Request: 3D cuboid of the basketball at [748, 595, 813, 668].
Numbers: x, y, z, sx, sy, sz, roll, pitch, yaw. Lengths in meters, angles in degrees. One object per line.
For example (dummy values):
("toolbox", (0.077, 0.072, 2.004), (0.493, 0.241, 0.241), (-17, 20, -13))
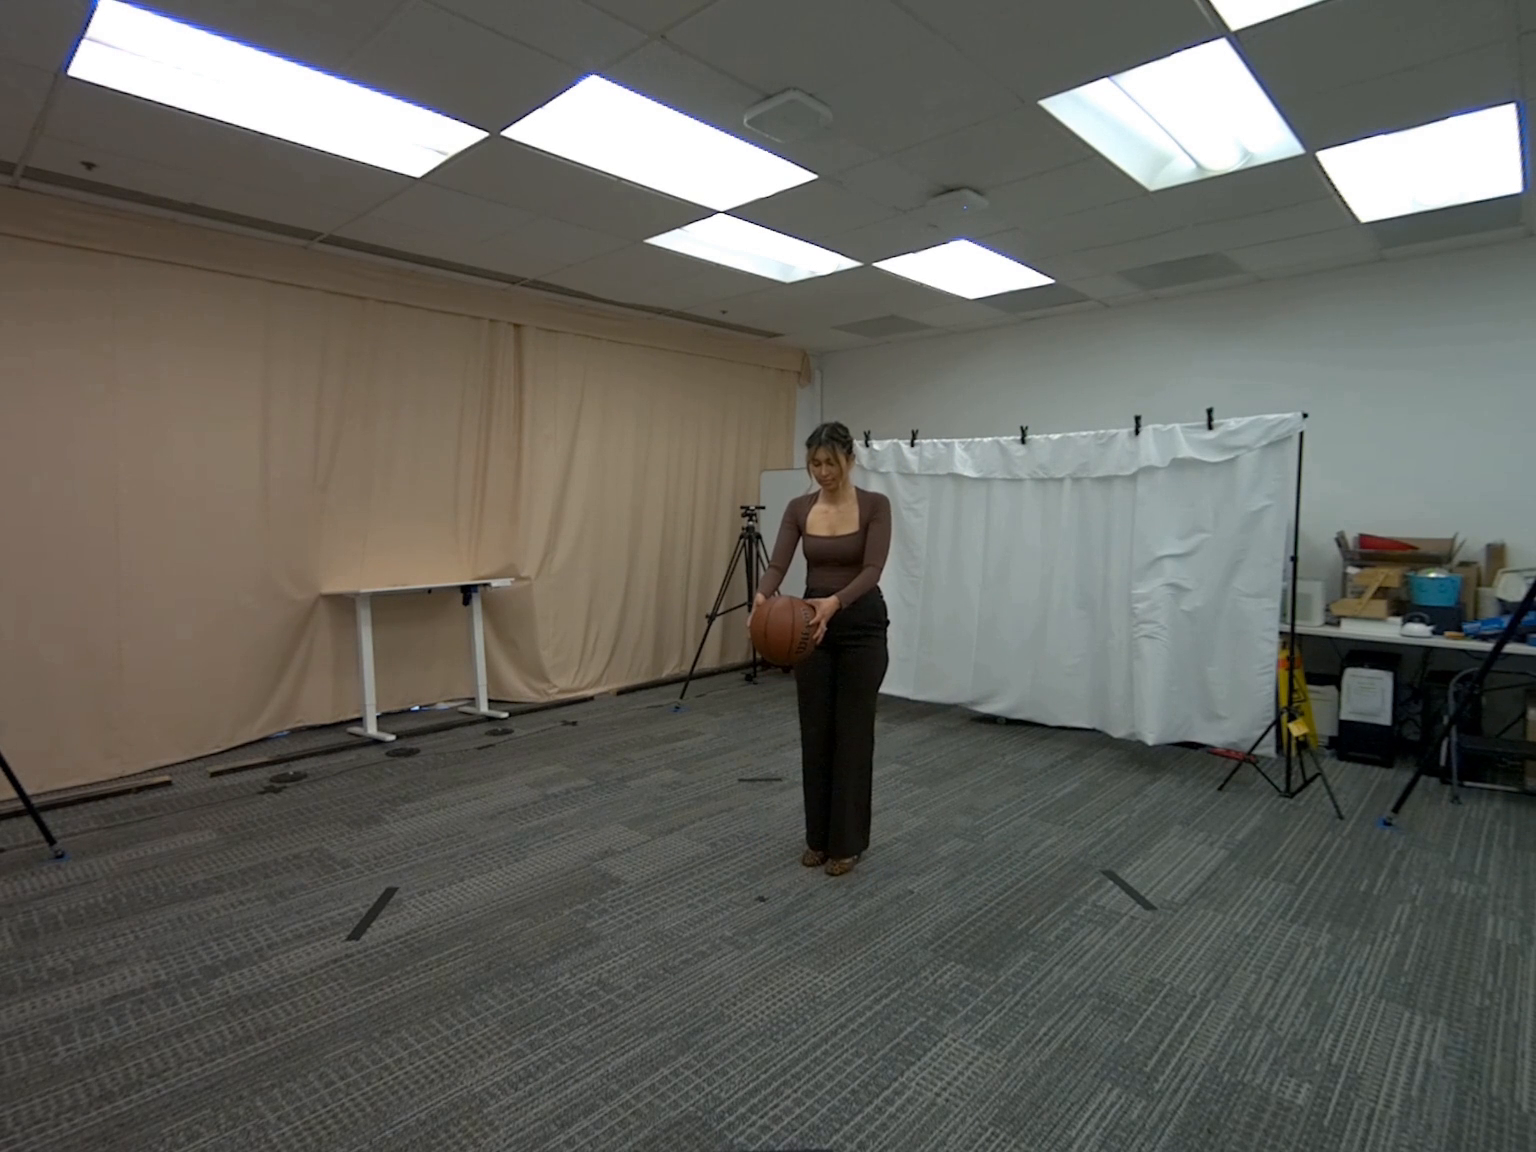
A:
("basketball", (0.058, 0.187, 2.869), (0.236, 0.235, 0.237), (0, 4, -2))
